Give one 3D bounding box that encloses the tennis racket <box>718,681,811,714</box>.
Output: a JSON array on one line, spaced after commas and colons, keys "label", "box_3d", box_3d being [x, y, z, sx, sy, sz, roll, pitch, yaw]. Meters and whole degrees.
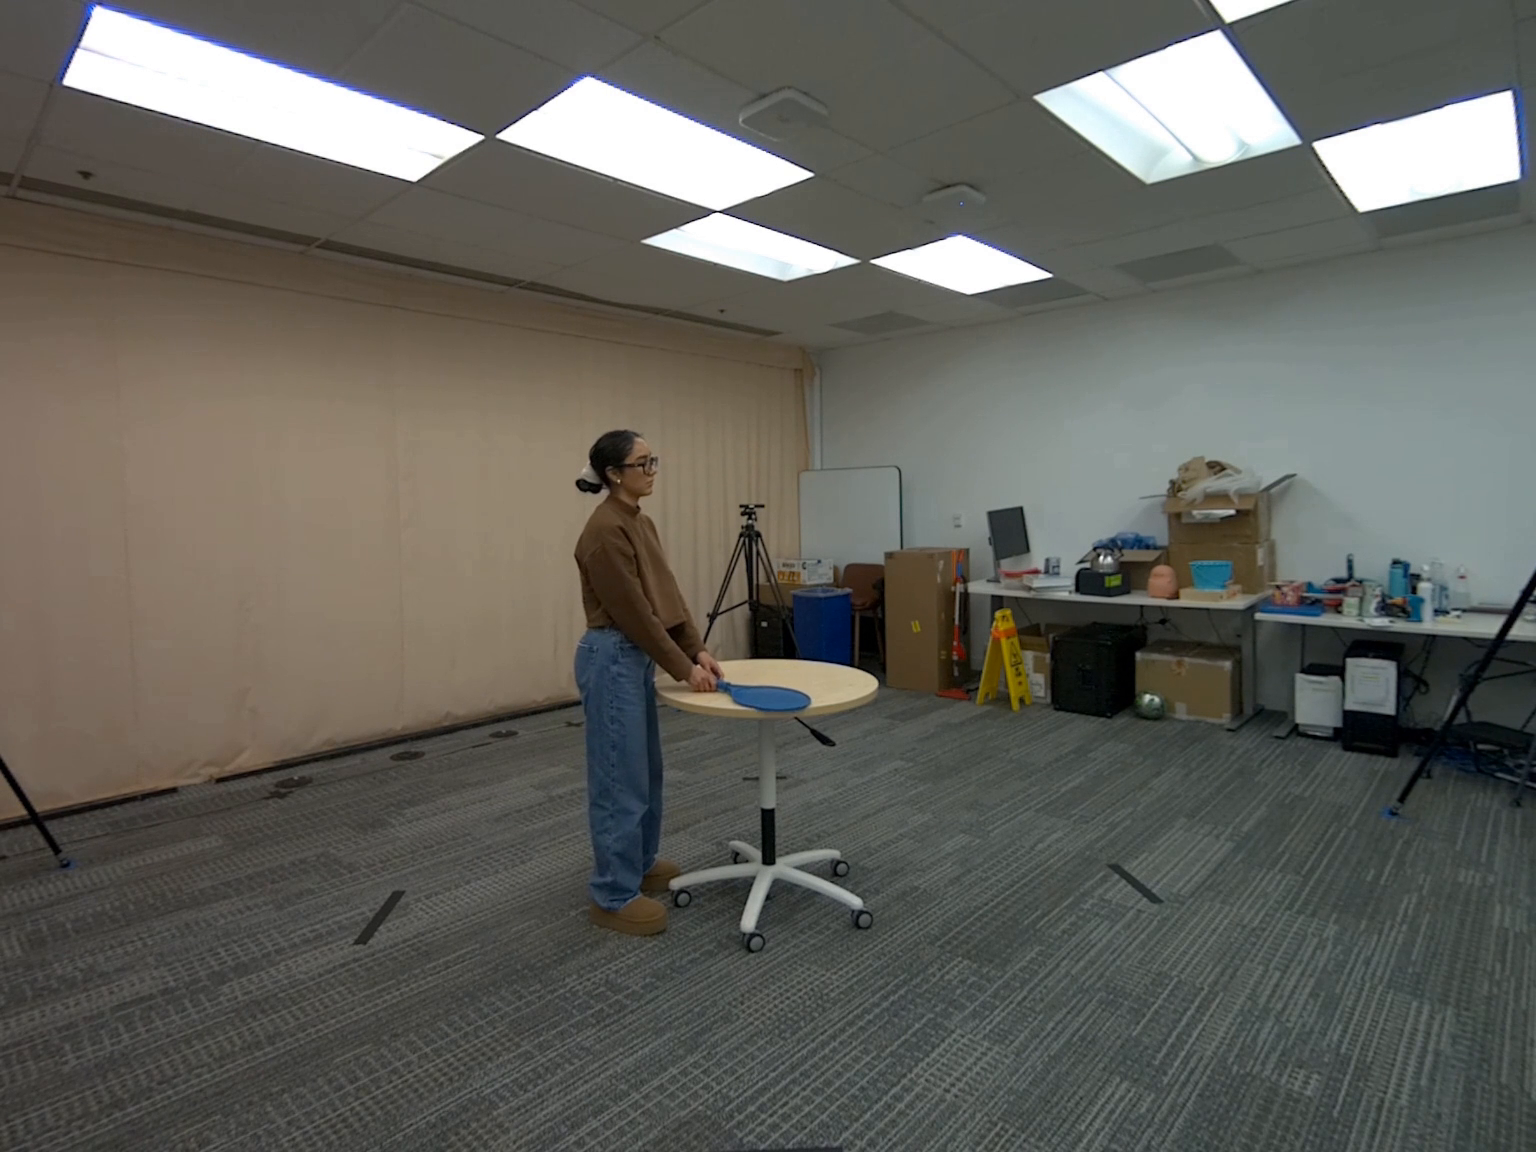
[{"label": "tennis racket", "box_3d": [-0.044, 0.380, 2.645, 0.447, 0.031, 0.207, 6, 10, 39]}]
